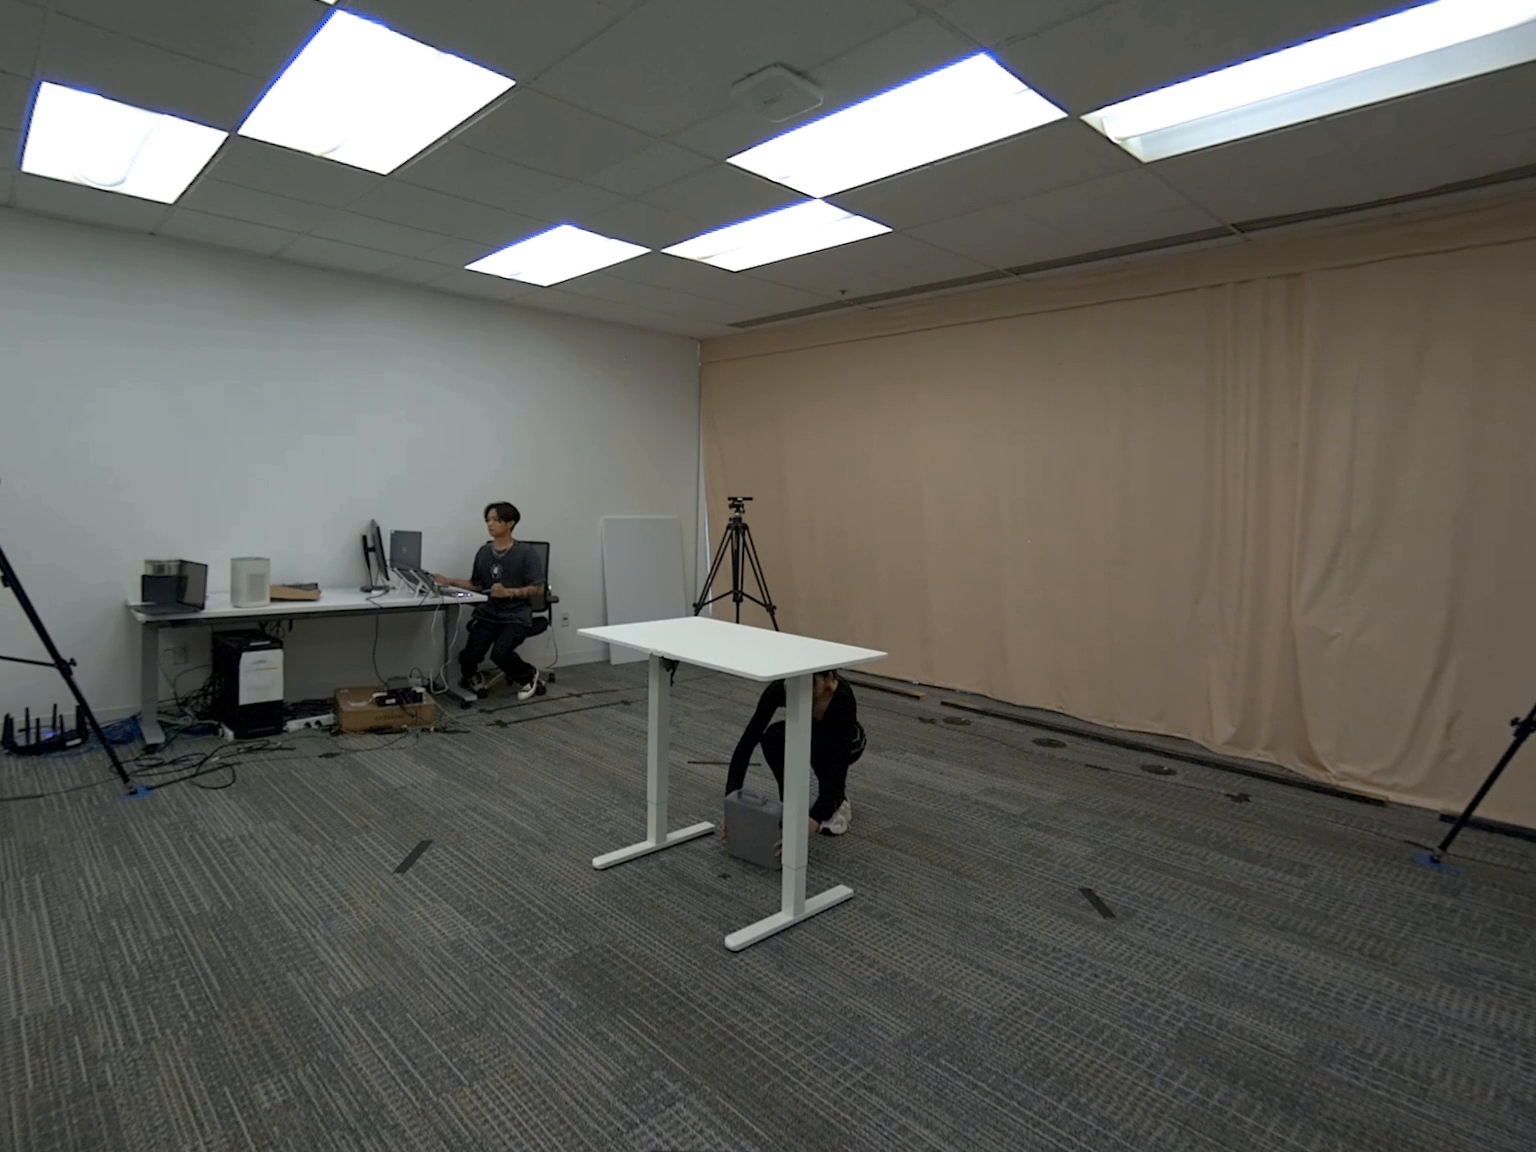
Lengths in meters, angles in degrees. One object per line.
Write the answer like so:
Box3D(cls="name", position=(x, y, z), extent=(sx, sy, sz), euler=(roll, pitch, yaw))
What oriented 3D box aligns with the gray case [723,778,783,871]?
Box3D(cls="gray case", position=(-0.057, 0.973, 3.217), extent=(0.263, 0.258, 0.103), euler=(6, 18, 38))
